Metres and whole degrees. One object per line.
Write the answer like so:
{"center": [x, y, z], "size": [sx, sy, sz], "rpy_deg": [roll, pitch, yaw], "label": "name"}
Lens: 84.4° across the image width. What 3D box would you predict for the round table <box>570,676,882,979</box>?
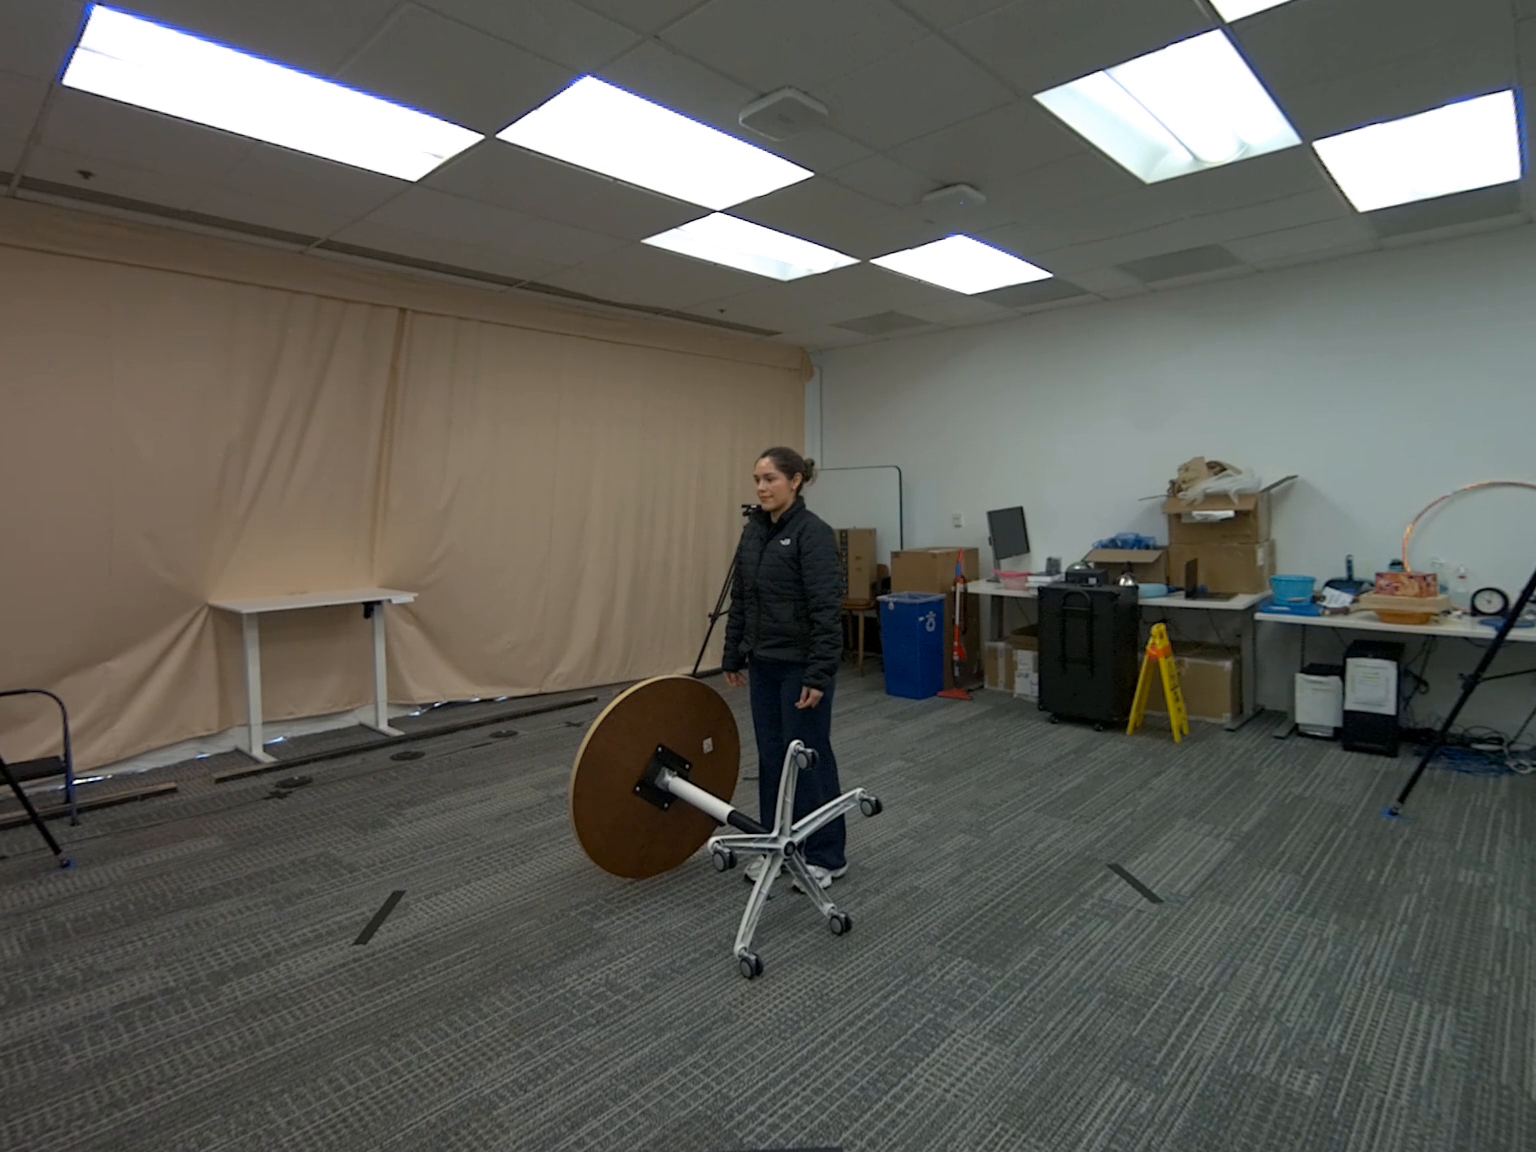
{"center": [-0.126, 0.811, 2.870], "size": [0.761, 0.781, 0.814], "rpy_deg": [-4, 11, -41], "label": "round table"}
